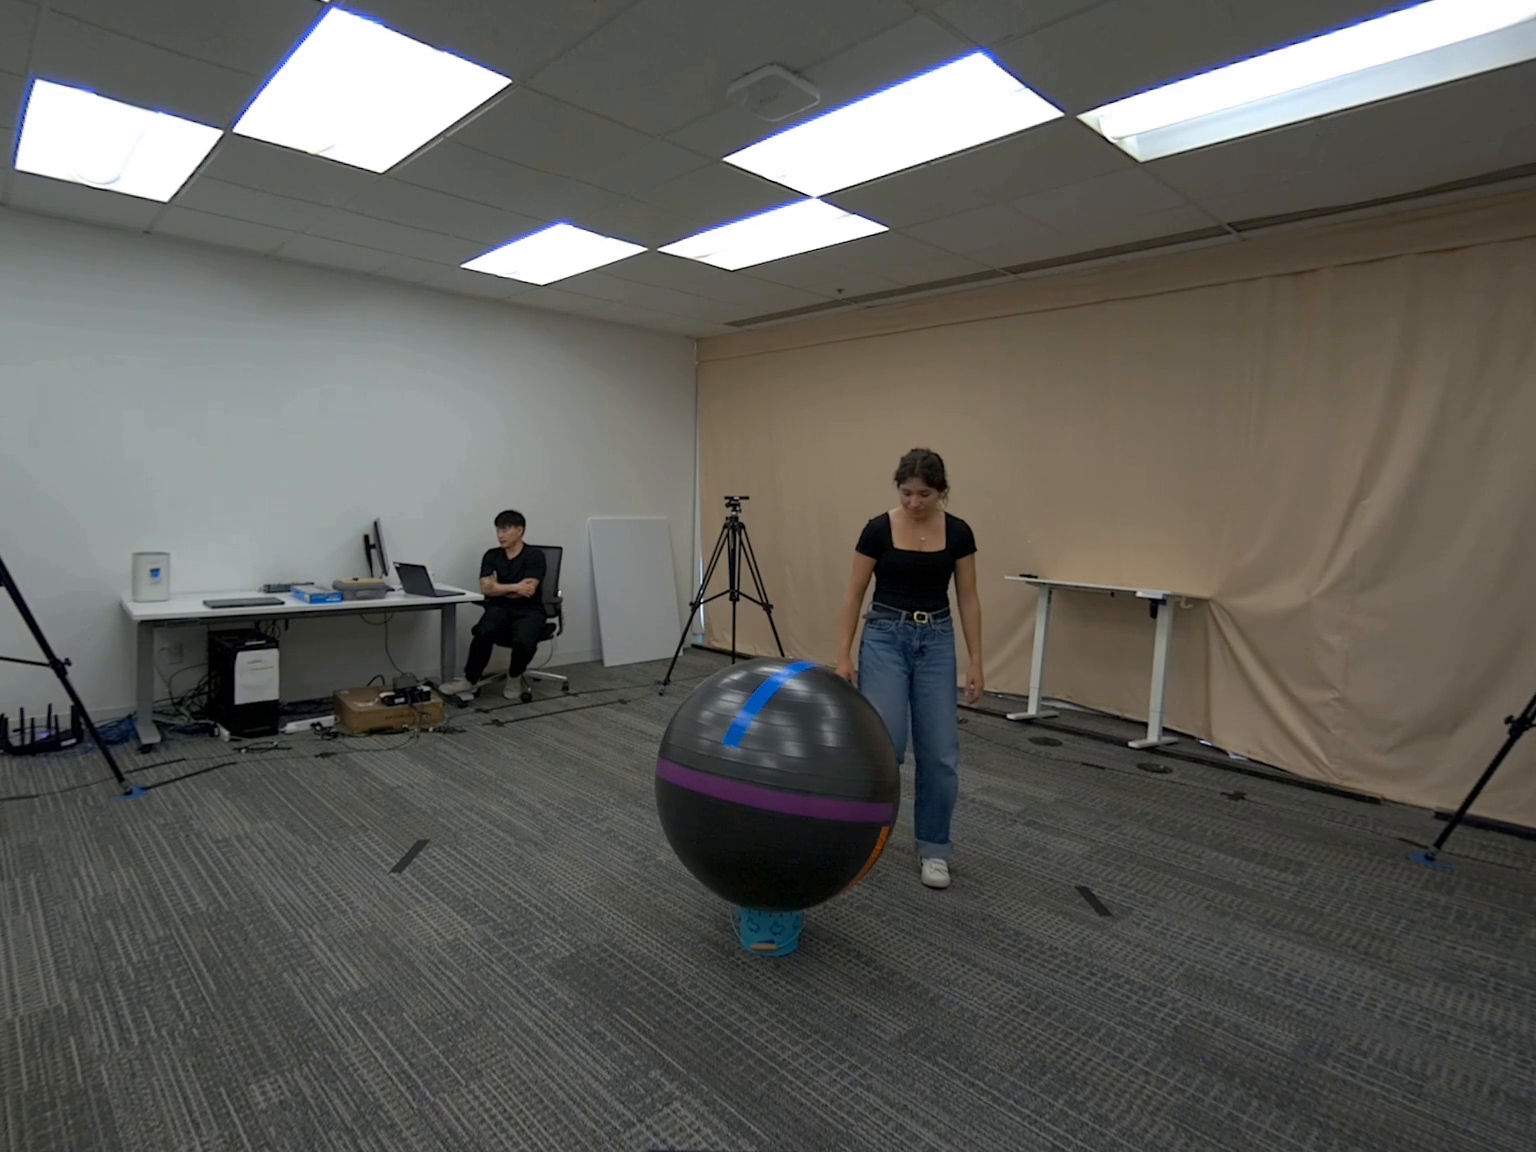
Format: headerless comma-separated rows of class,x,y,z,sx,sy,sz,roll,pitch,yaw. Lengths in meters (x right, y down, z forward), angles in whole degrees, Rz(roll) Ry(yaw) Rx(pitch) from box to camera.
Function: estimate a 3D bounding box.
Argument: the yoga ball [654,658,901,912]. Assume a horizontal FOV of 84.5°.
yoga ball,0.020,0.635,2.629,0.757,0.756,0.761,1,4,-1
